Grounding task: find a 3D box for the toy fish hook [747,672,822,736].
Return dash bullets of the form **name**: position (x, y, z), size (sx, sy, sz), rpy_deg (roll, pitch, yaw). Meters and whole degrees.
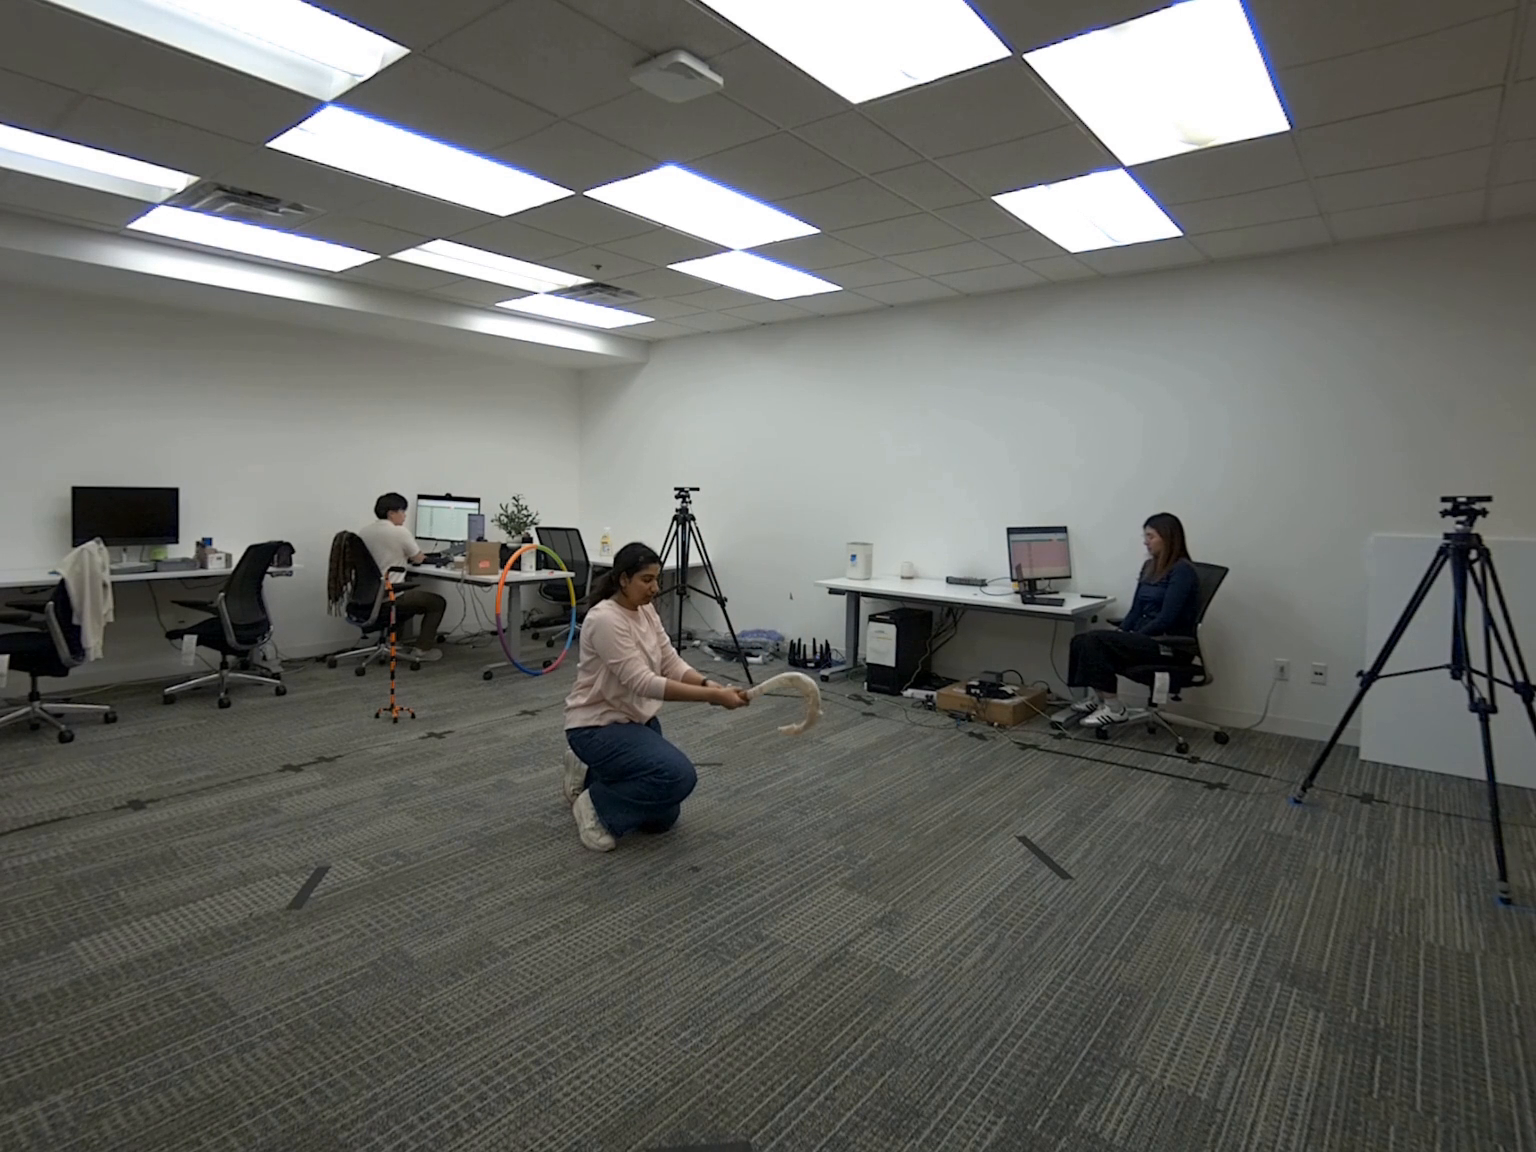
- **toy fish hook**: position (-0.038, 0.472, 3.142), size (0.518, 0.227, 0.047), rpy_deg (-12, -11, 35)
